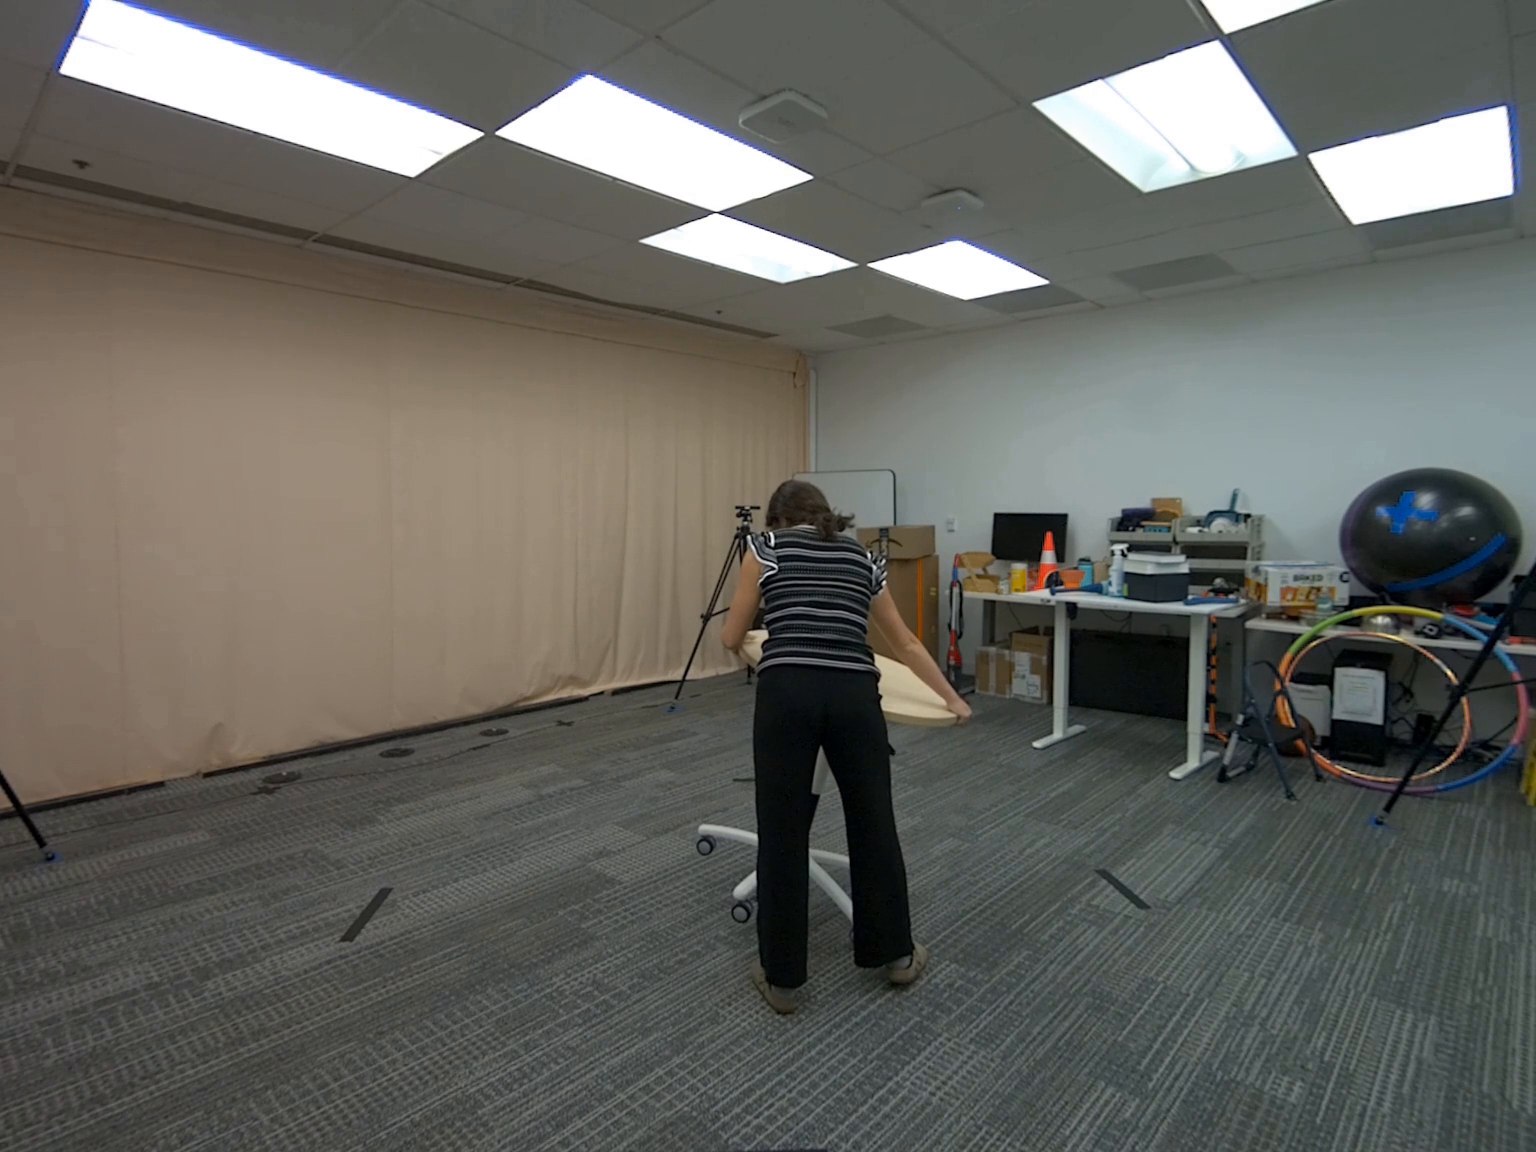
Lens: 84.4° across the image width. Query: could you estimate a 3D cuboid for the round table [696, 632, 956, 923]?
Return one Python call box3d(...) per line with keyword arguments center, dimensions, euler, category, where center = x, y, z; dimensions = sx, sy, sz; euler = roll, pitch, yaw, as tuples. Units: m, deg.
box3d(center=(0.160, 0.689, 2.858), dimensions=(0.782, 0.784, 0.790), euler=(14, 8, -4), category="round table")
